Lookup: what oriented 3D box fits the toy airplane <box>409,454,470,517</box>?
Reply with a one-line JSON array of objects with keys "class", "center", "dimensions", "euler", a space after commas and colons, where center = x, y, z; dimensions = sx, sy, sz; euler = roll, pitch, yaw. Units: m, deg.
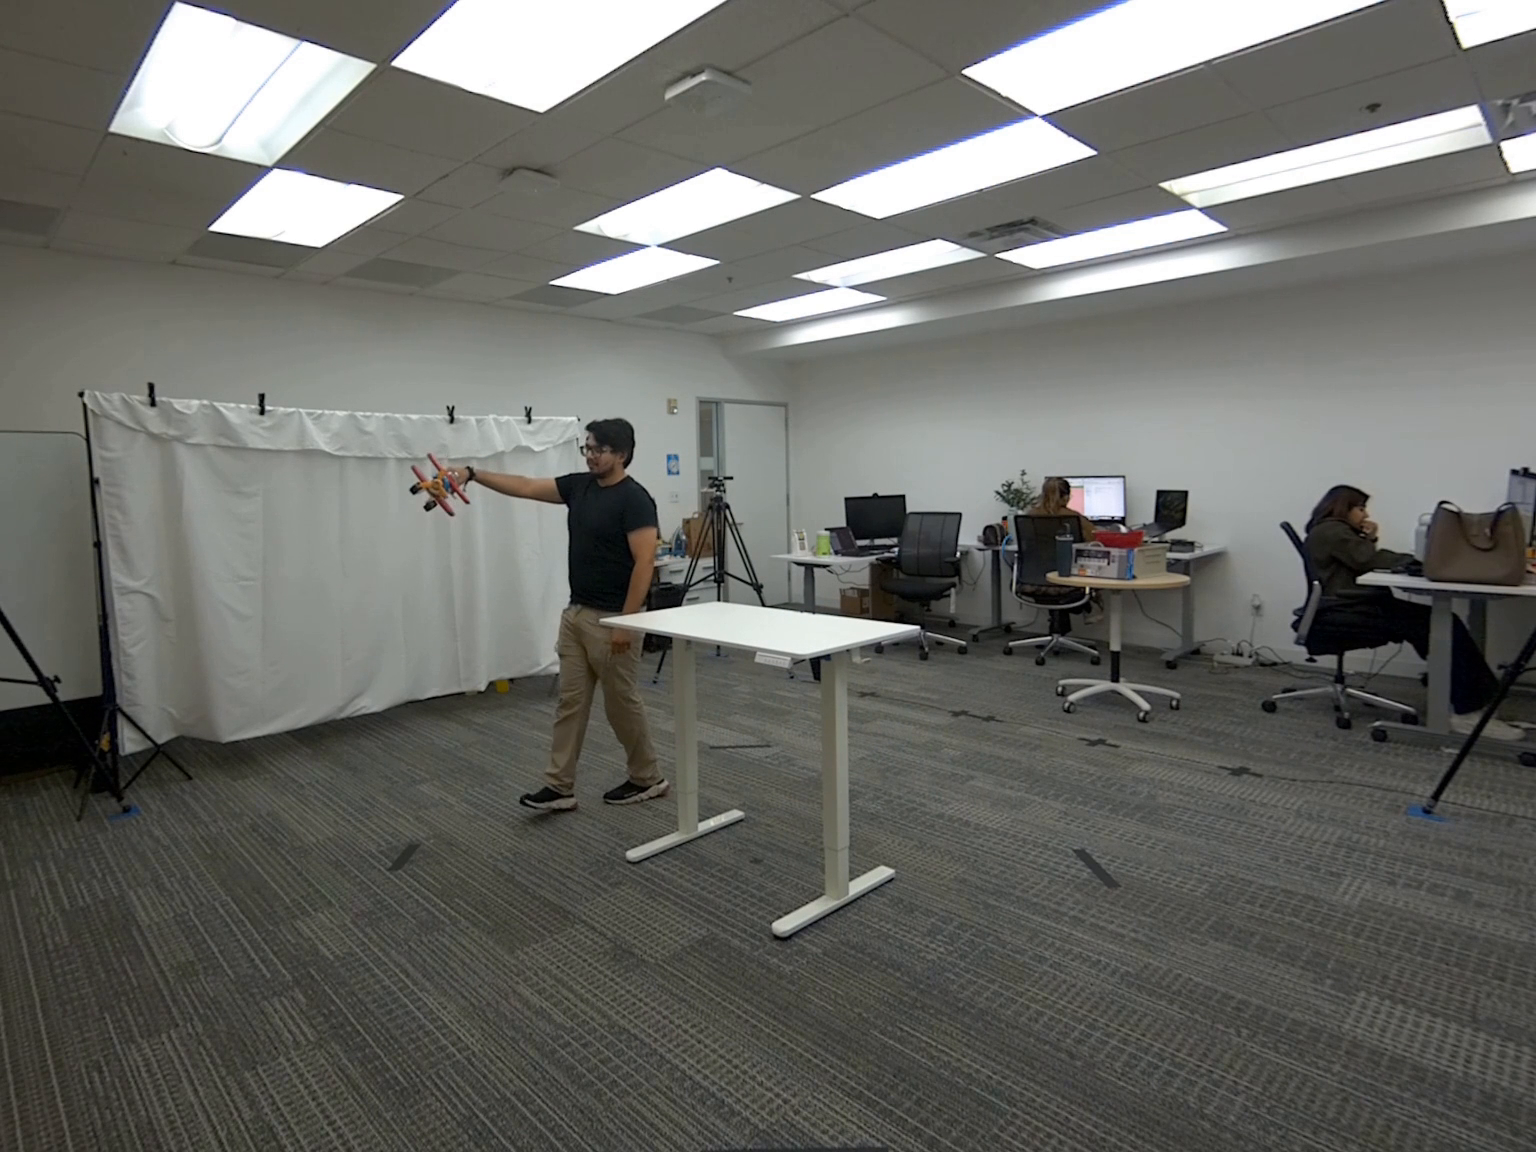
[{"class": "toy airplane", "center": [-1.335, -0.371, 3.447], "dimensions": [0.157, 0.242, 0.268], "euler": [-36, 36, 6]}]
